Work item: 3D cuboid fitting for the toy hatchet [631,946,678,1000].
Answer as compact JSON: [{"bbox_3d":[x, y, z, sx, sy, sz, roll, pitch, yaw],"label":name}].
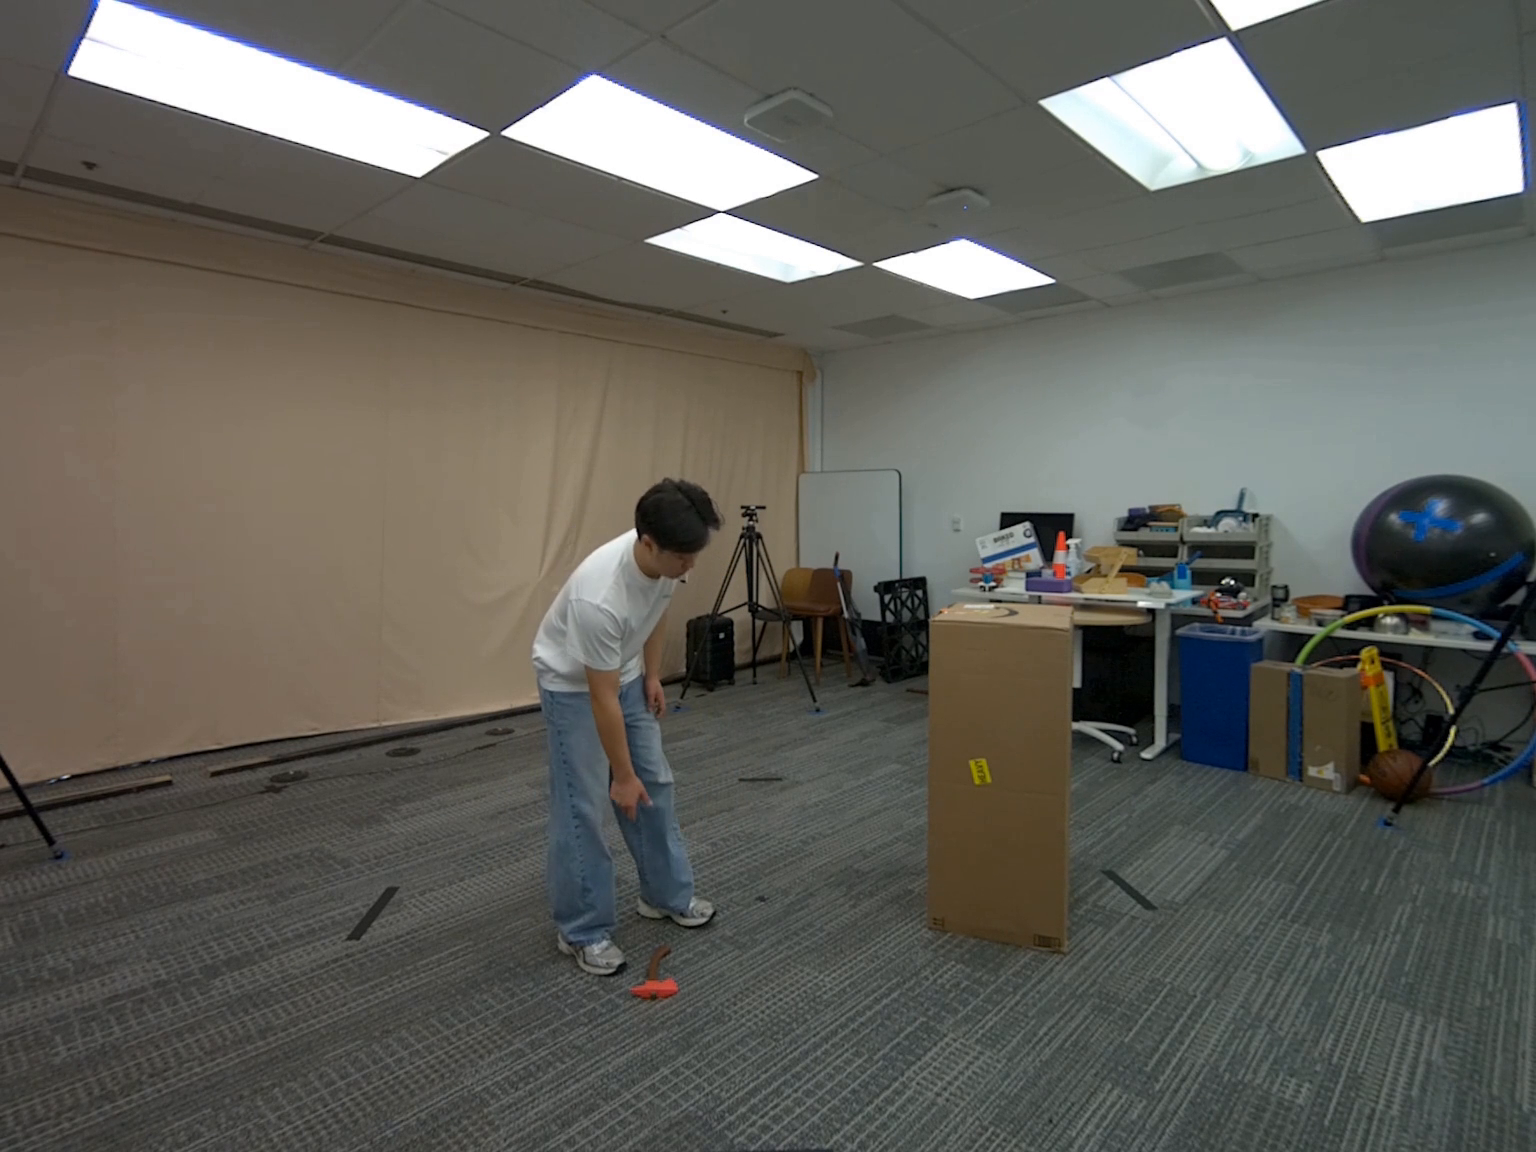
[{"bbox_3d":[-0.300,1.175,2.501,0.133,0.029,0.266,1,3,13],"label":"toy hatchet"}]
